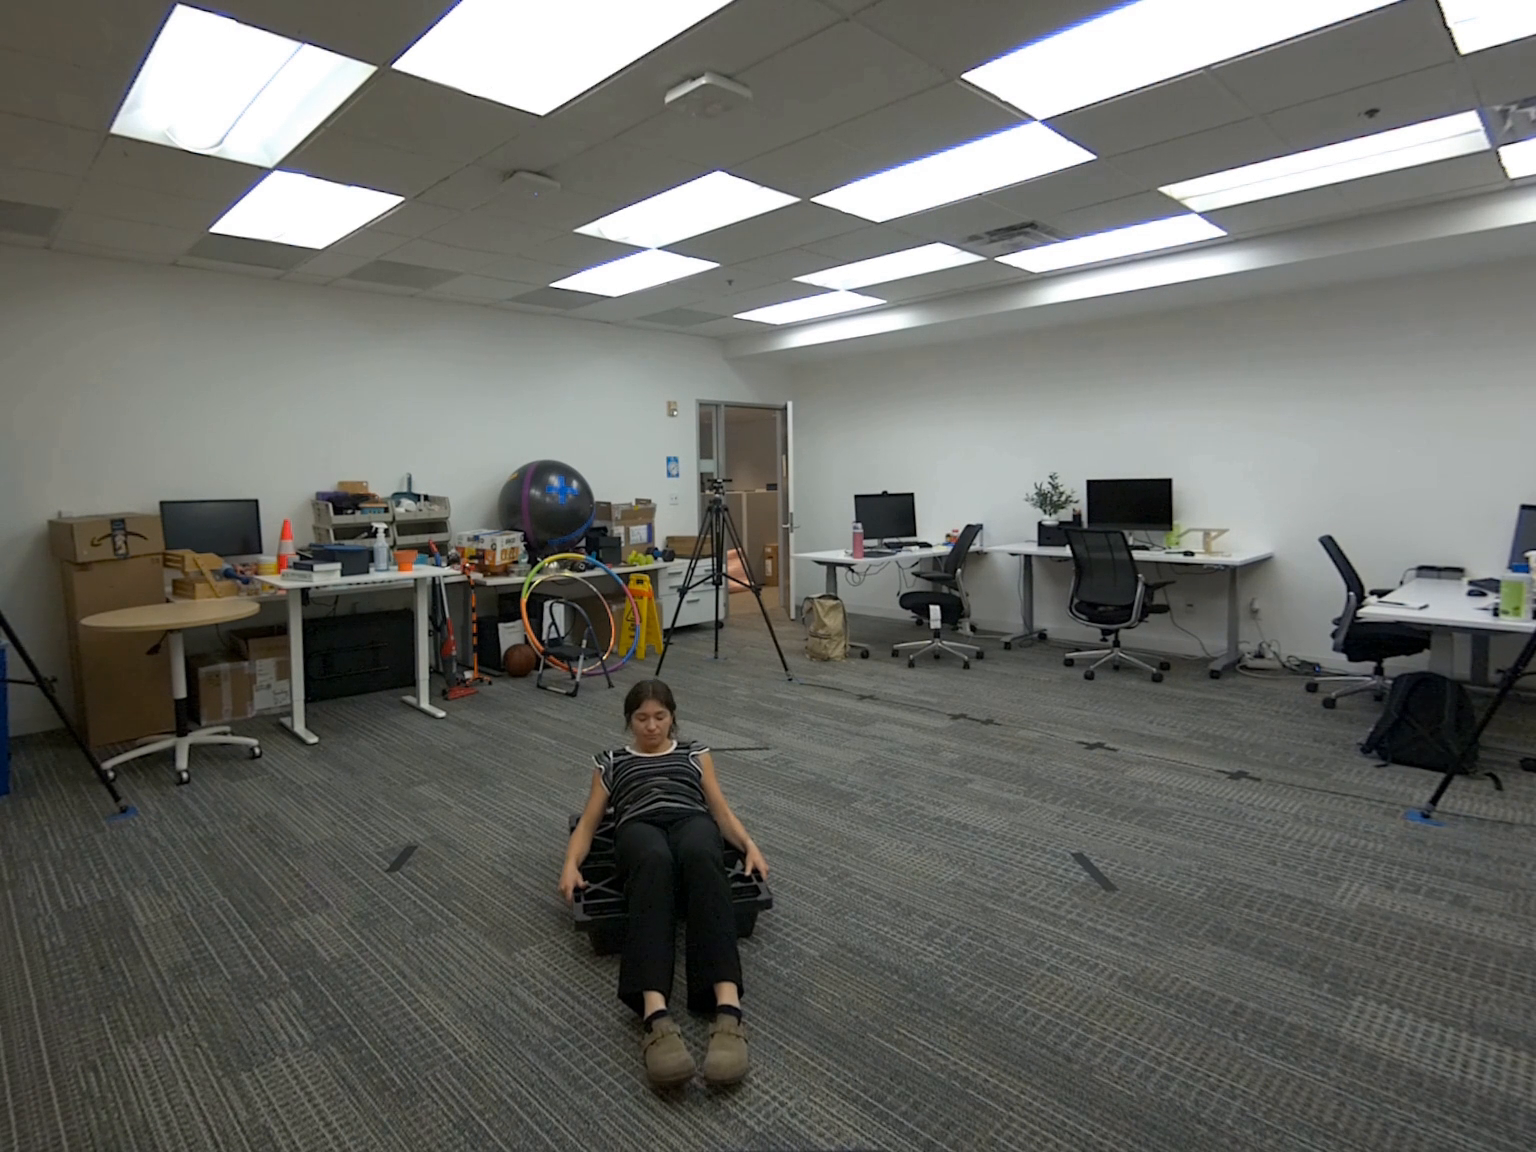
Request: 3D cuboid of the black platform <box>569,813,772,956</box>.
[{"bbox_3d":[-0.364,1.005,2.913,0.598,0.142,0.819,-3,7,-13],"label":"black platform"}]
